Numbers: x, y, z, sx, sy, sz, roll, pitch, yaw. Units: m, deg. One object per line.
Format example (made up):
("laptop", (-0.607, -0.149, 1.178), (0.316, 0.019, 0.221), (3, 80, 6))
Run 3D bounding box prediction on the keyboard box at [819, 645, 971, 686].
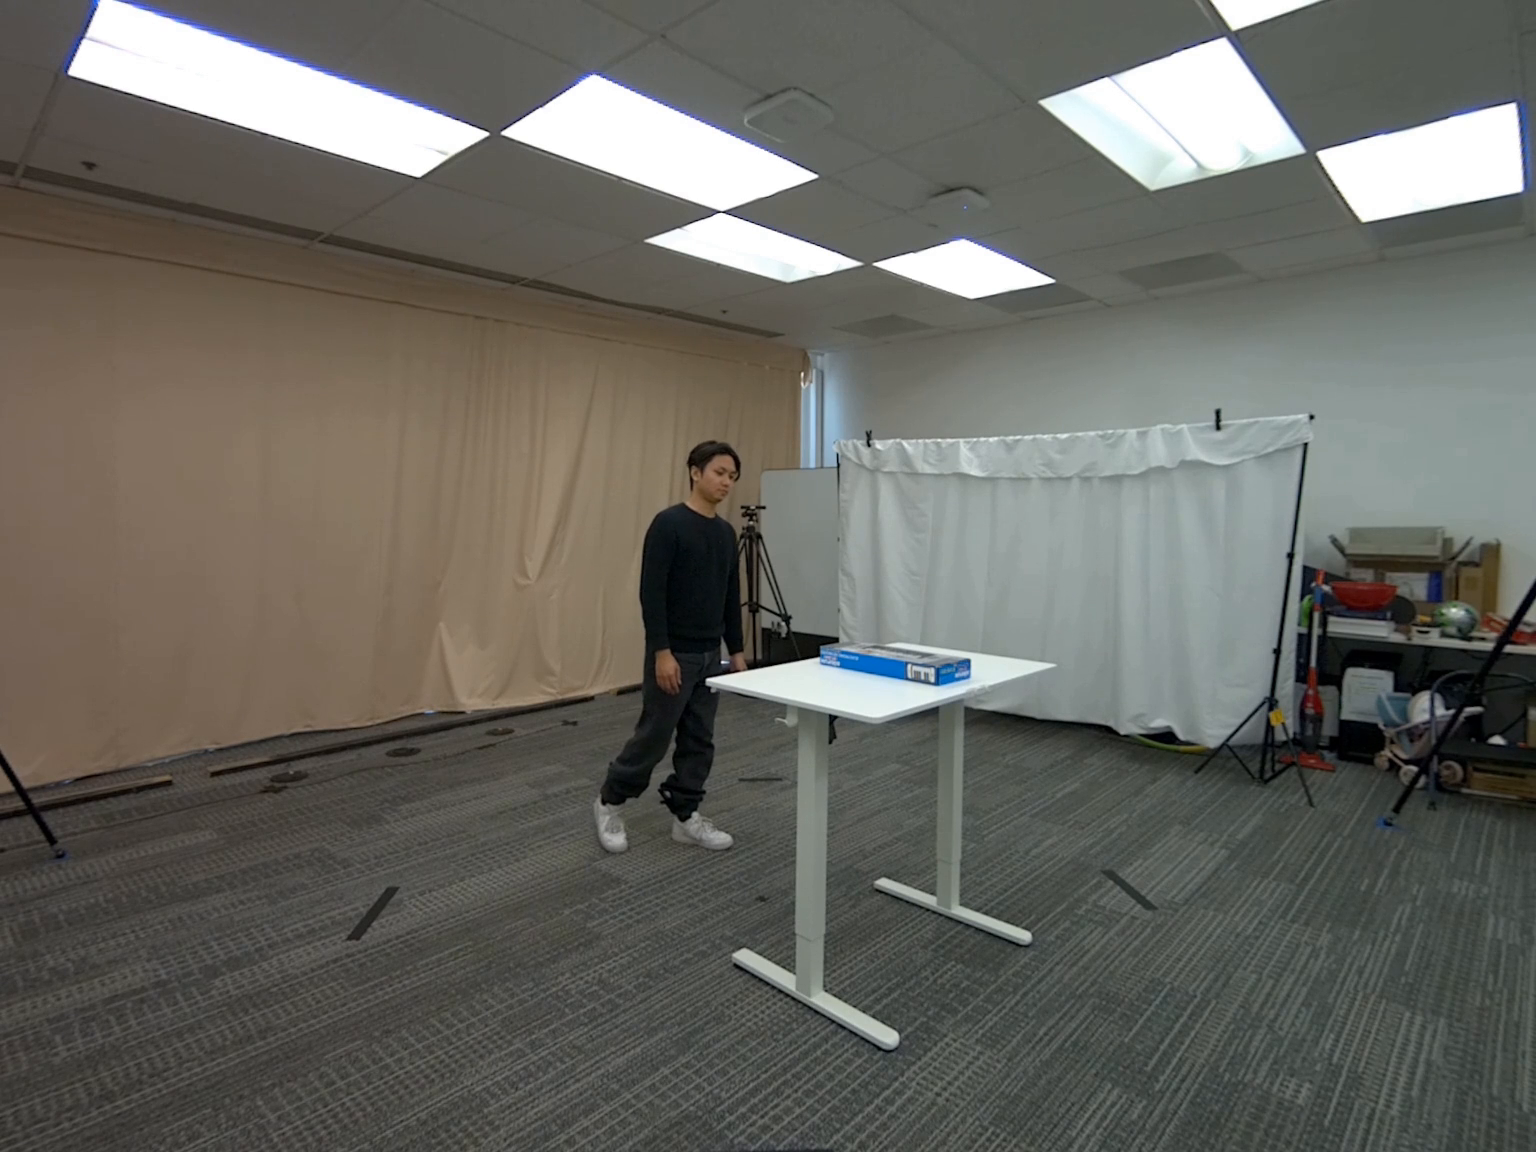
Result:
("keyboard box", (0.390, 0.265, 2.580), (0.170, 0.059, 0.451), (-5, 7, -44))
